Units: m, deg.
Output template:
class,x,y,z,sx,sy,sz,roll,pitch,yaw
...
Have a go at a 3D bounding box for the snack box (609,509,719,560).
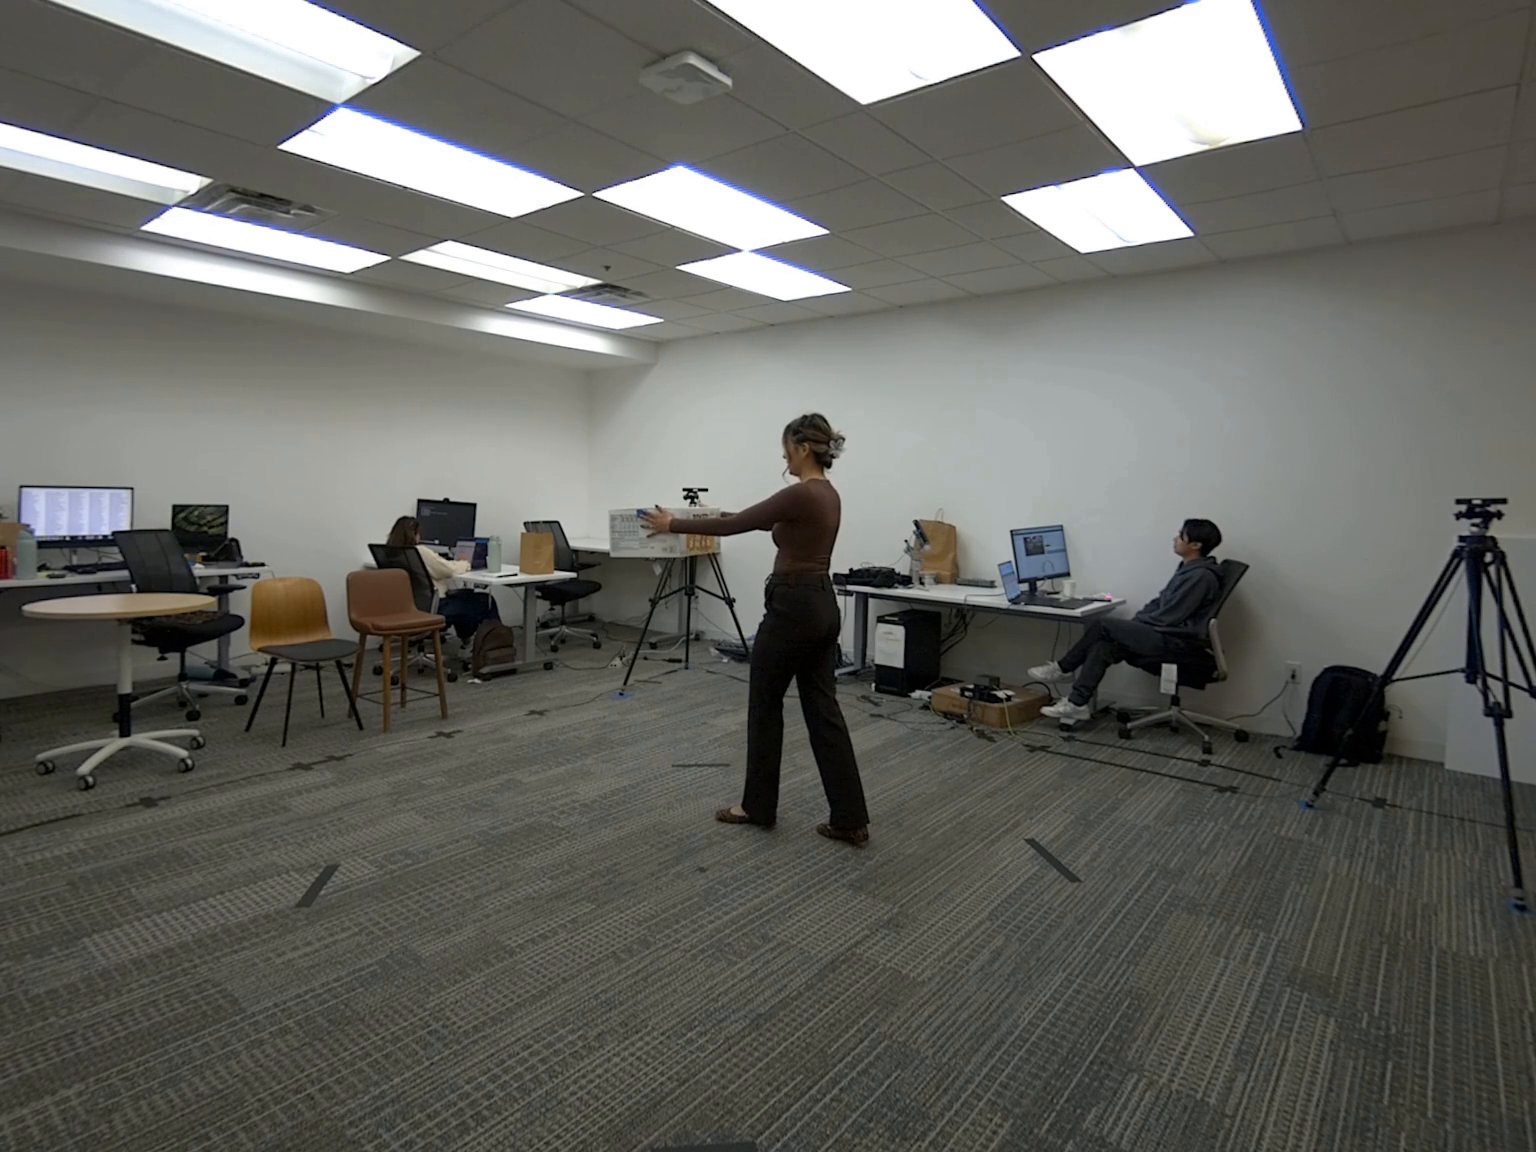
class,x,y,z,sx,sy,sz,roll,pitch,yaw
snack box,-0.468,-0.204,3.737,0.348,0.205,0.398,1,6,22
